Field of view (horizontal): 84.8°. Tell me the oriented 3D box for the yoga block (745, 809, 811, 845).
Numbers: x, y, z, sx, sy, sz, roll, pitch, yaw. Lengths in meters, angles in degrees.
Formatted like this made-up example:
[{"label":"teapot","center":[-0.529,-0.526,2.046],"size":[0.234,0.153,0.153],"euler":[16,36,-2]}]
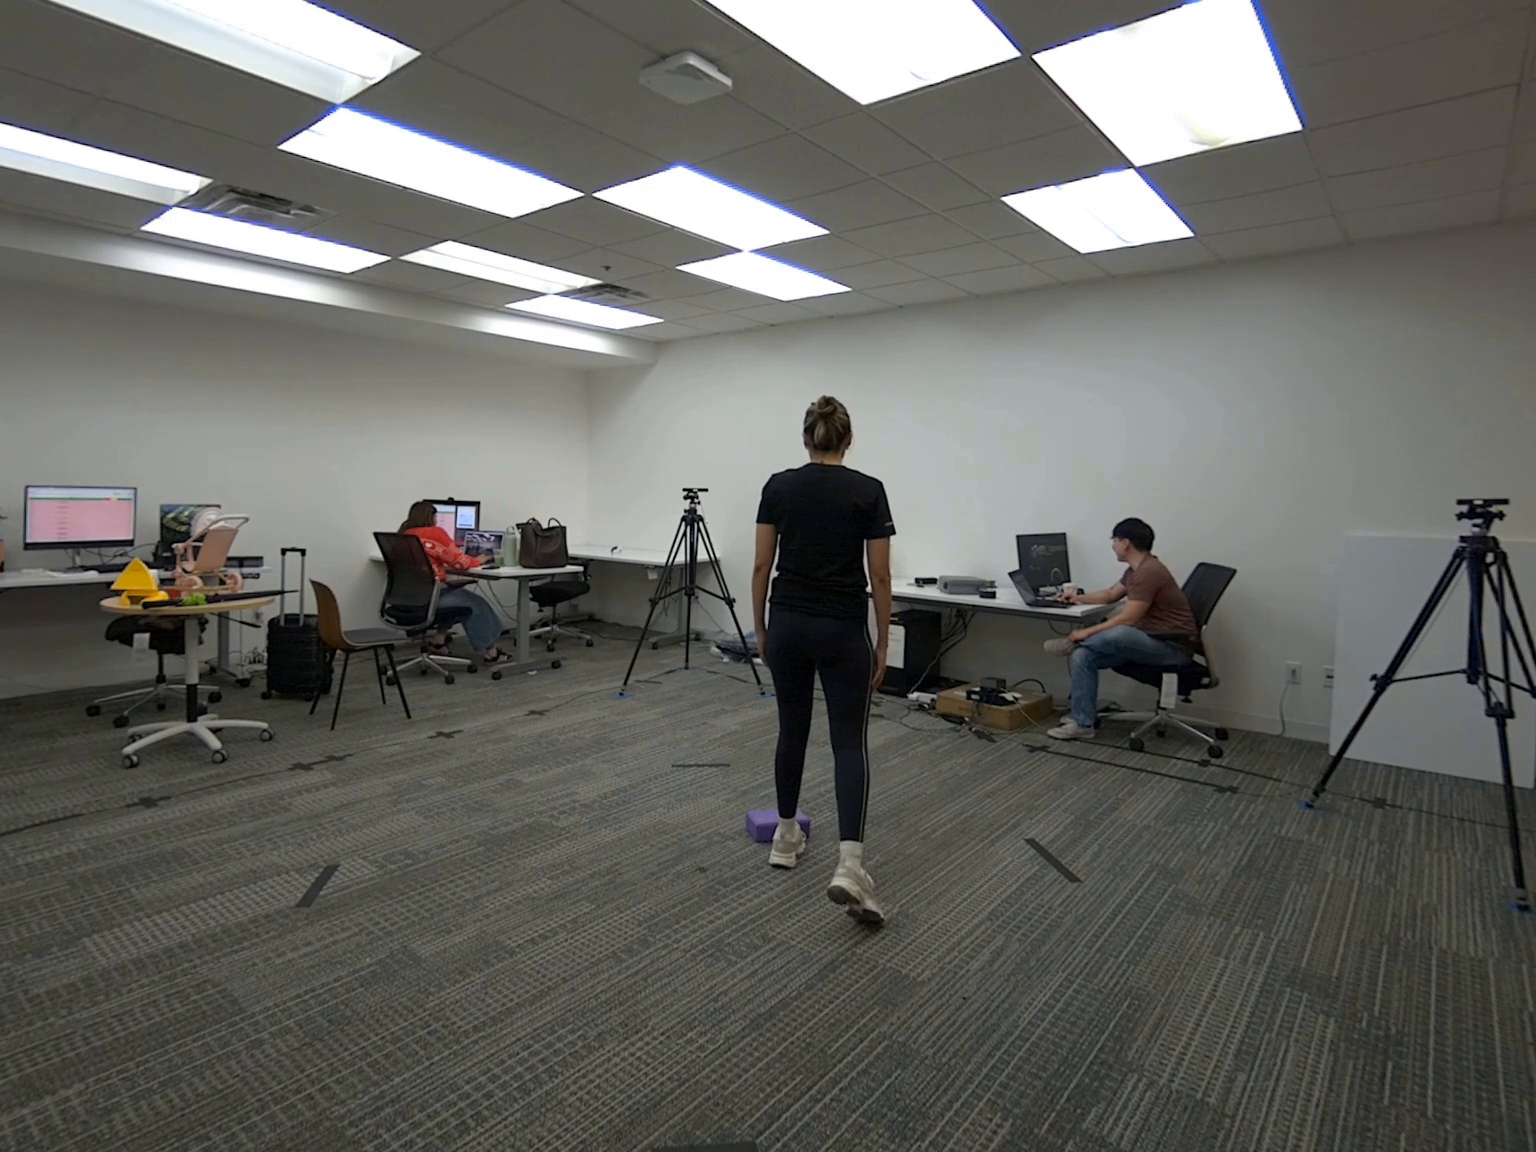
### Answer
[{"label":"yoga block","center":[0.034,0.998,3.440],"size":[0.226,0.076,0.152],"euler":[-2,6,-16]}]
